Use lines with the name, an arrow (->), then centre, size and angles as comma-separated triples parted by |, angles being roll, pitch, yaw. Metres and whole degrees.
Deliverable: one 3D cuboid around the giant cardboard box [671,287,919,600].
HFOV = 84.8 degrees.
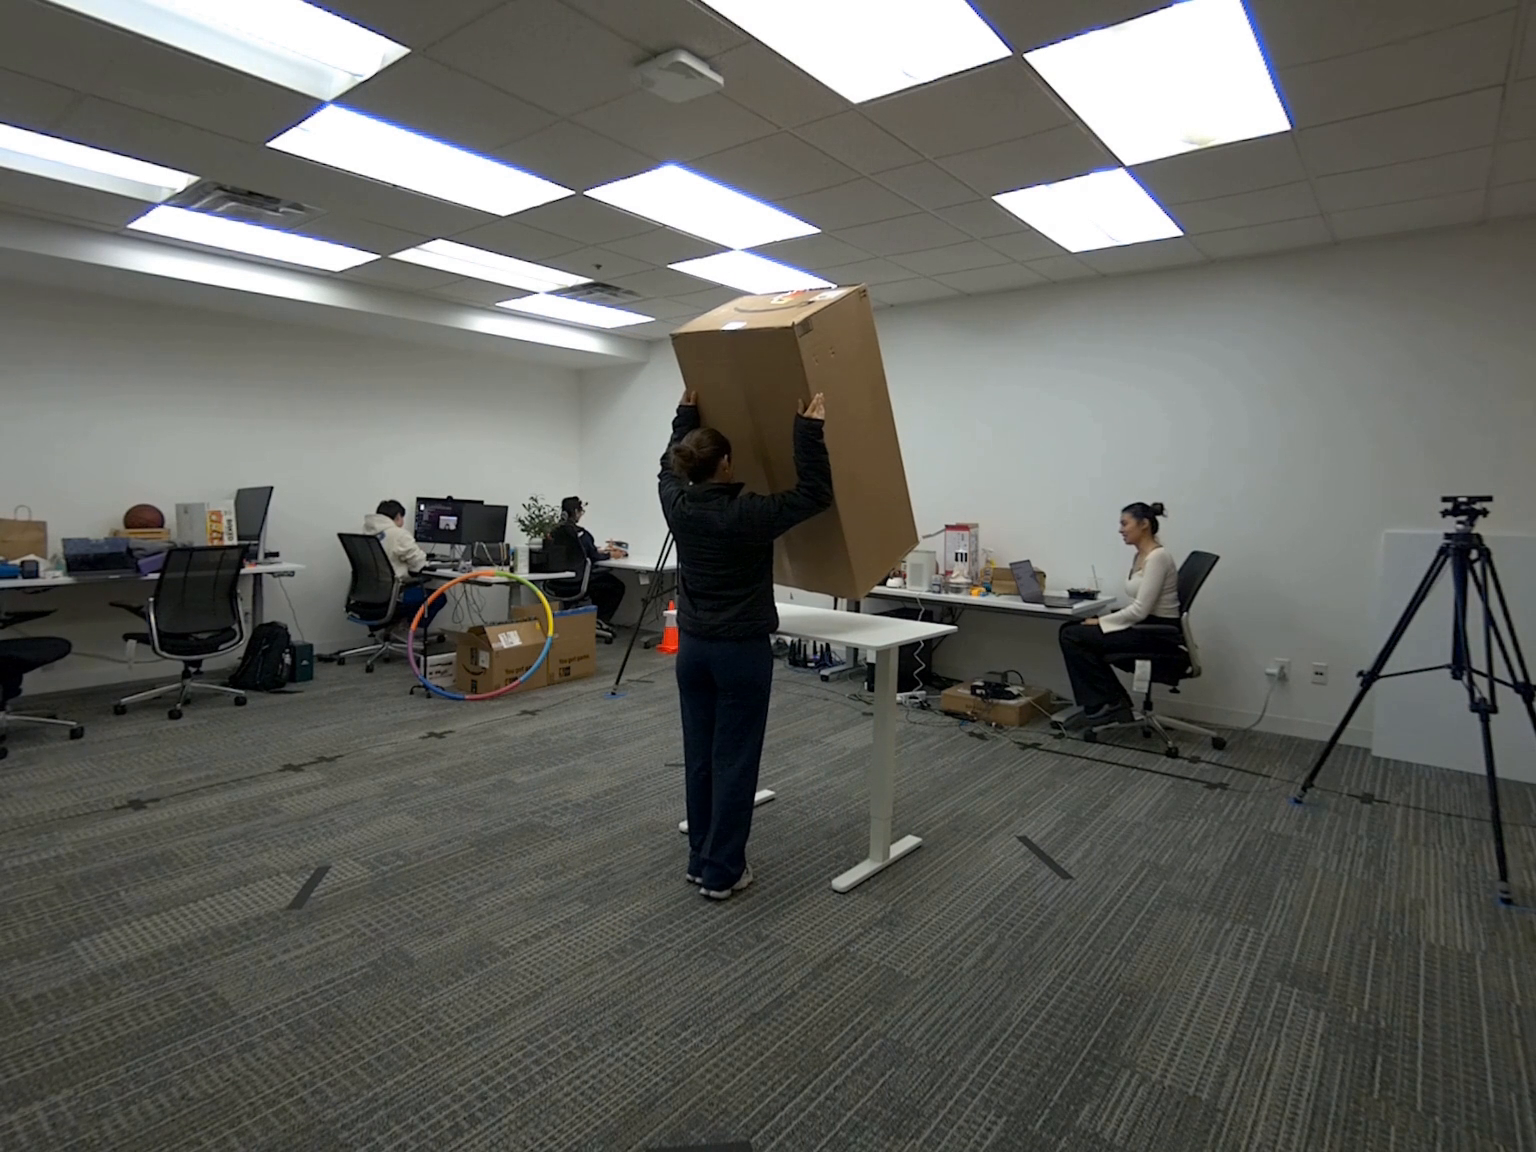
giant cardboard box -> 0.130, -0.492, 3.153 | 0.605, 0.999, 0.443 | 11, 36, 44
